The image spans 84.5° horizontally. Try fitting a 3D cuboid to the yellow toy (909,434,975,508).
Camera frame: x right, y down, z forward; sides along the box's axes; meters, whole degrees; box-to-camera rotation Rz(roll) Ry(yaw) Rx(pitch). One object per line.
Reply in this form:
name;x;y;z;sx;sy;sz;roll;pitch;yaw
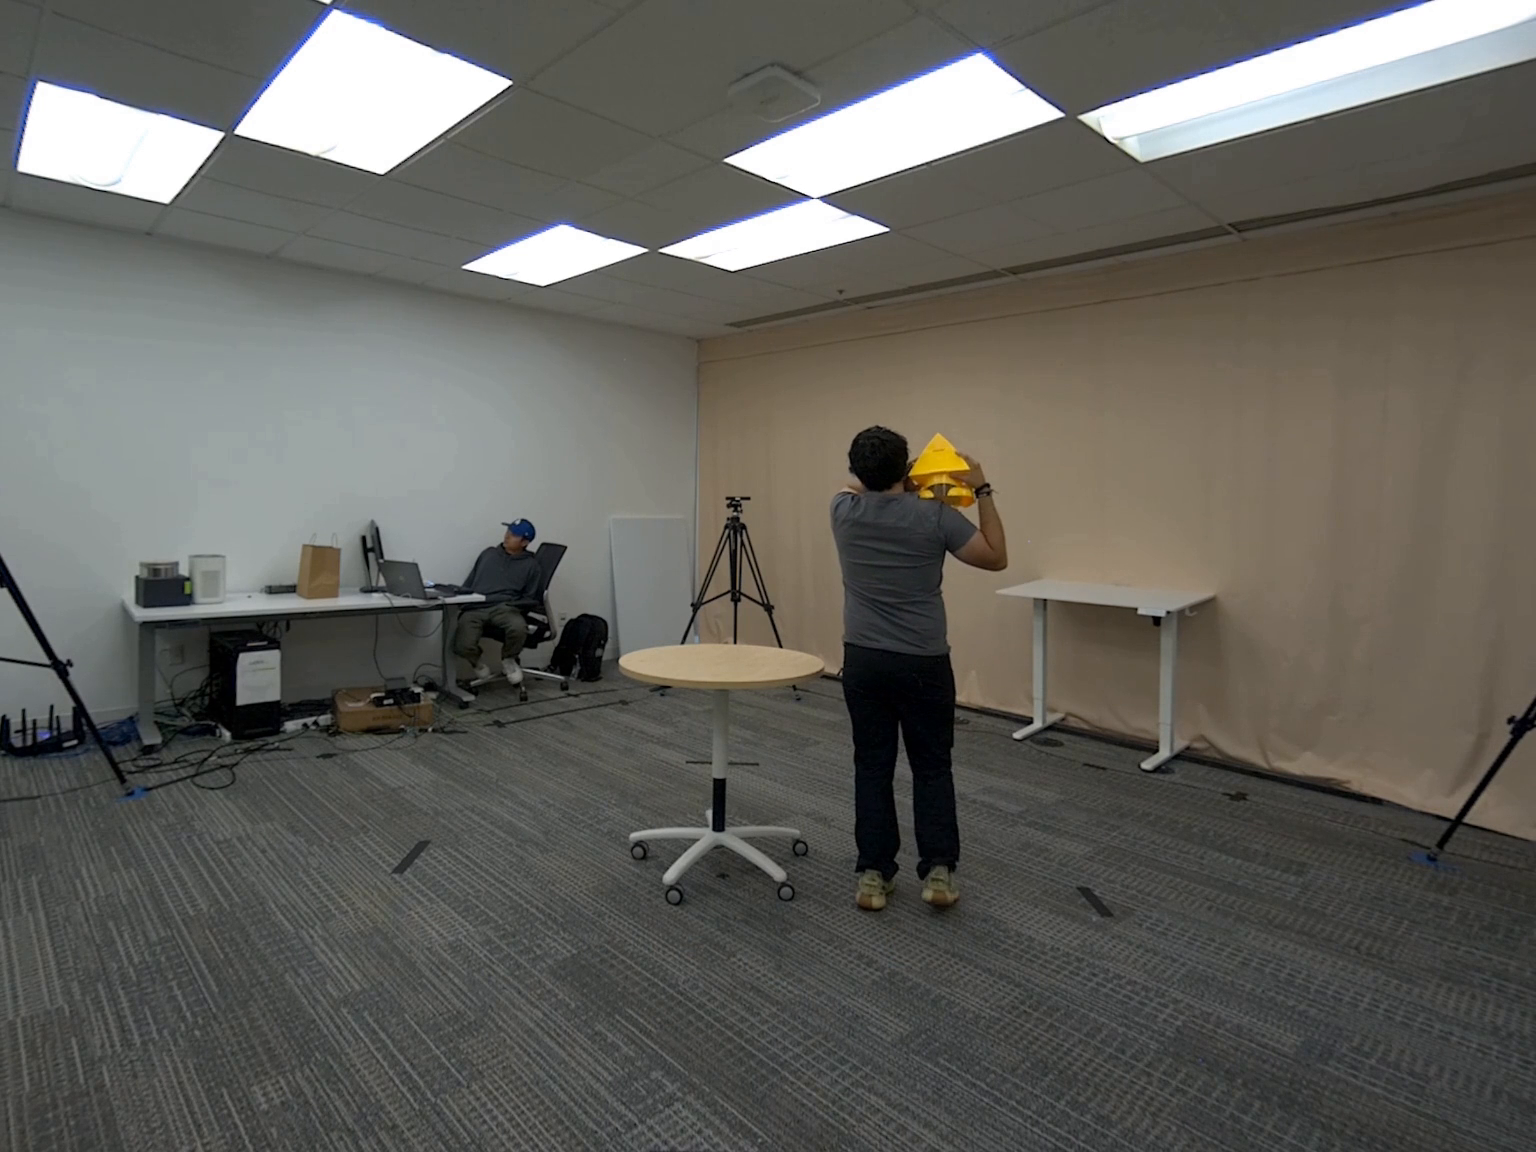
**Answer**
yellow toy;0.600;-0.364;2.914;0.208;0.233;0.188;-4;-14;19
